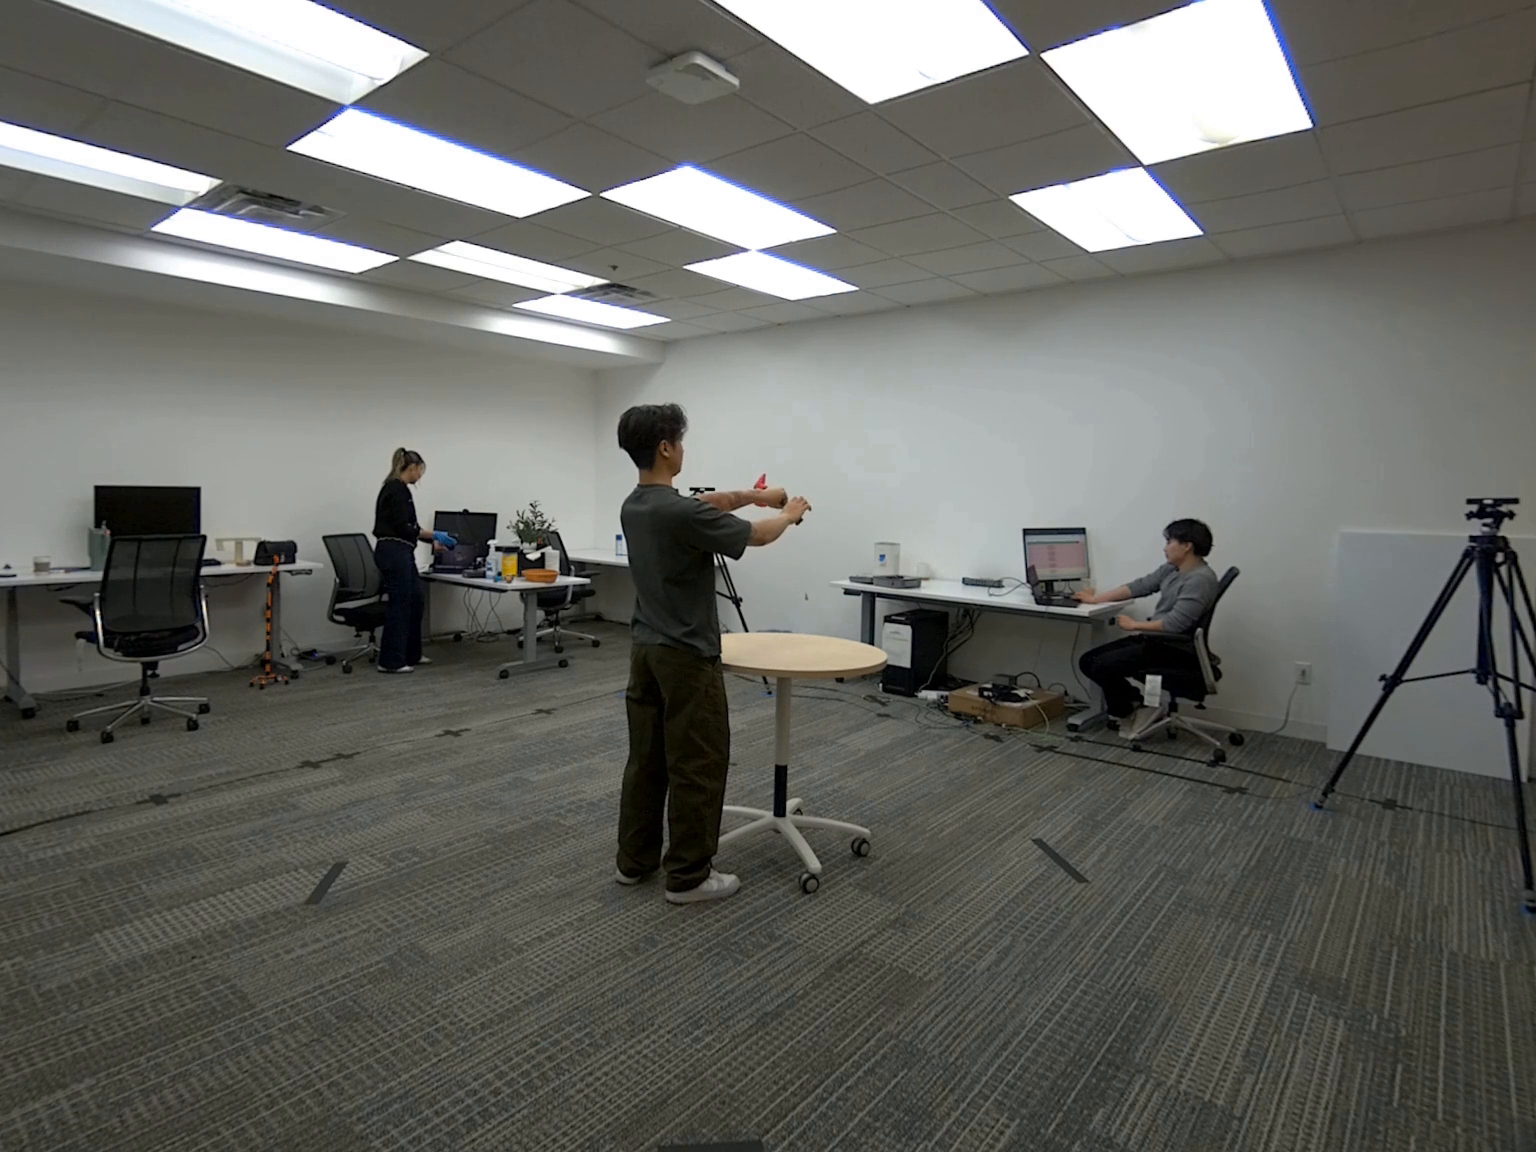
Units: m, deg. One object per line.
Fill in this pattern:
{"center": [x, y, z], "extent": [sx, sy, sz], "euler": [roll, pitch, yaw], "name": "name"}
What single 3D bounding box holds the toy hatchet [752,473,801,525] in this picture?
{"center": [0.019, -0.270, 3.291], "extent": [0.029, 0.130, 0.280], "euler": [-2, 45, -44], "name": "toy hatchet"}
